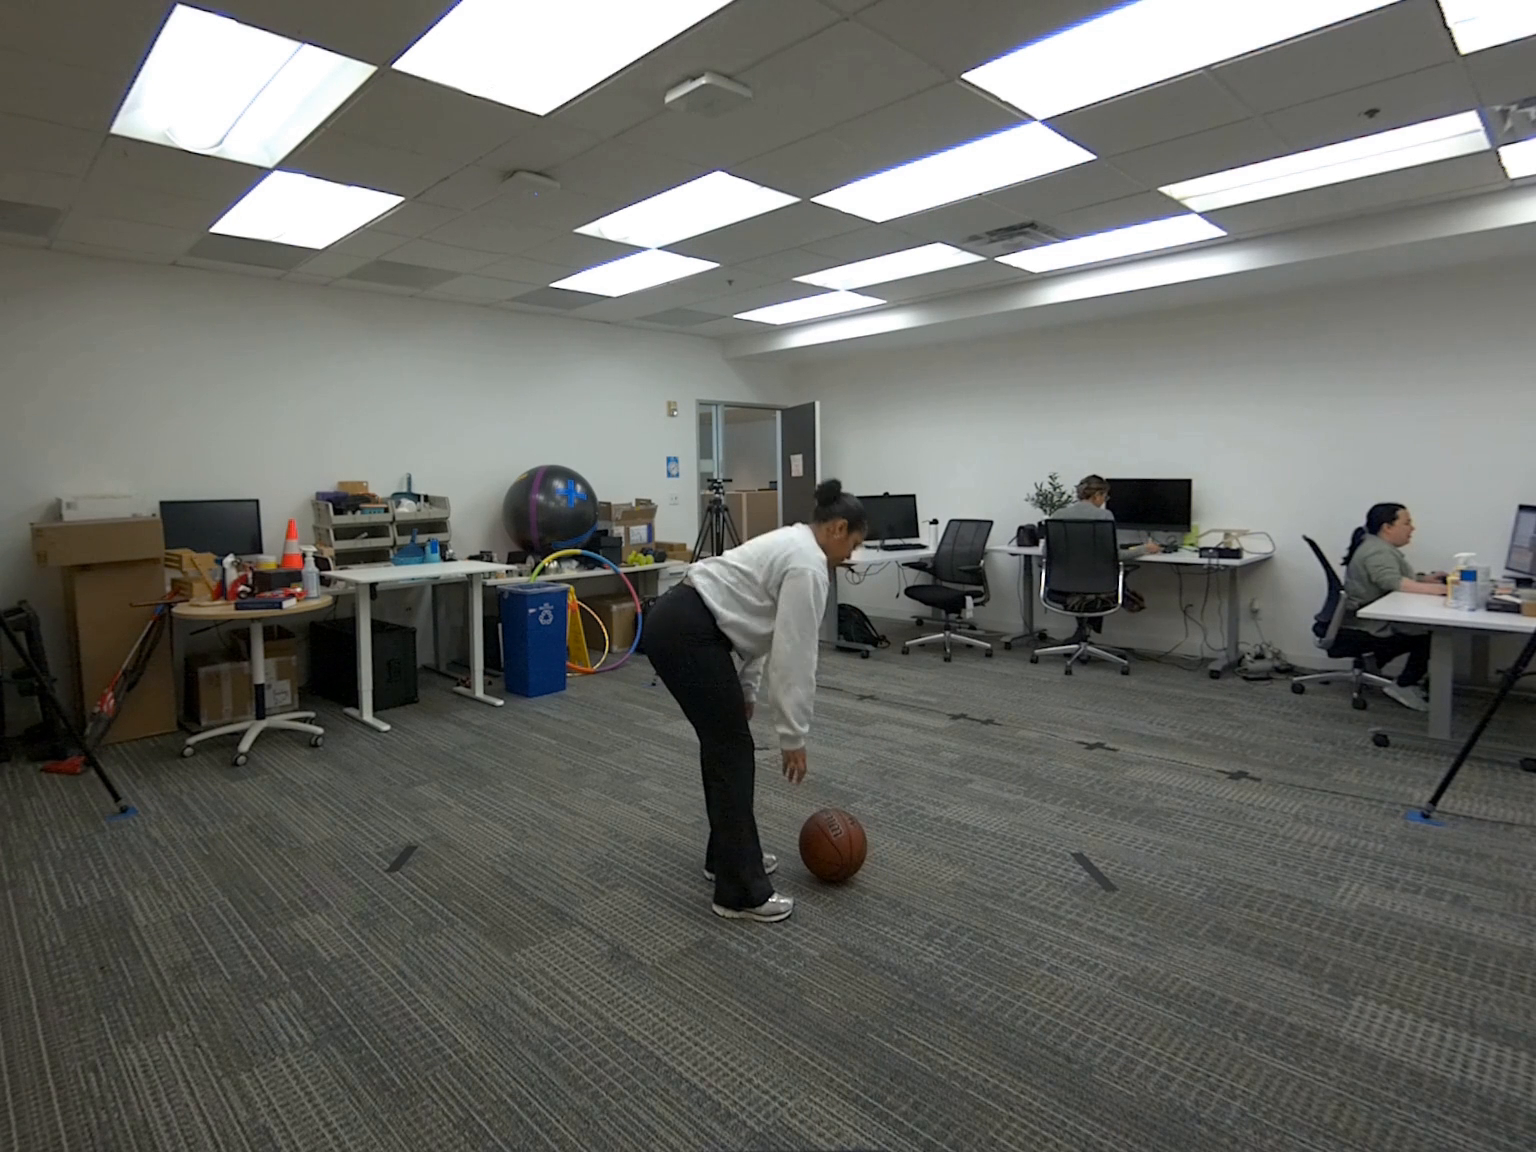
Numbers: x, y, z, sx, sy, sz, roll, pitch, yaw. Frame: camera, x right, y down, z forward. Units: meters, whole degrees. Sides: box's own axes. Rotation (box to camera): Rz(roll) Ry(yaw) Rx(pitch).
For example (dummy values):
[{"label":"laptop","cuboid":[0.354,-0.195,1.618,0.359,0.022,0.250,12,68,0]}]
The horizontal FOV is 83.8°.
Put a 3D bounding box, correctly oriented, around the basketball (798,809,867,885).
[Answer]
[{"label":"basketball","cuboid":[0.227,0.930,2.973,0.236,0.235,0.237,-1,5,-2]}]
